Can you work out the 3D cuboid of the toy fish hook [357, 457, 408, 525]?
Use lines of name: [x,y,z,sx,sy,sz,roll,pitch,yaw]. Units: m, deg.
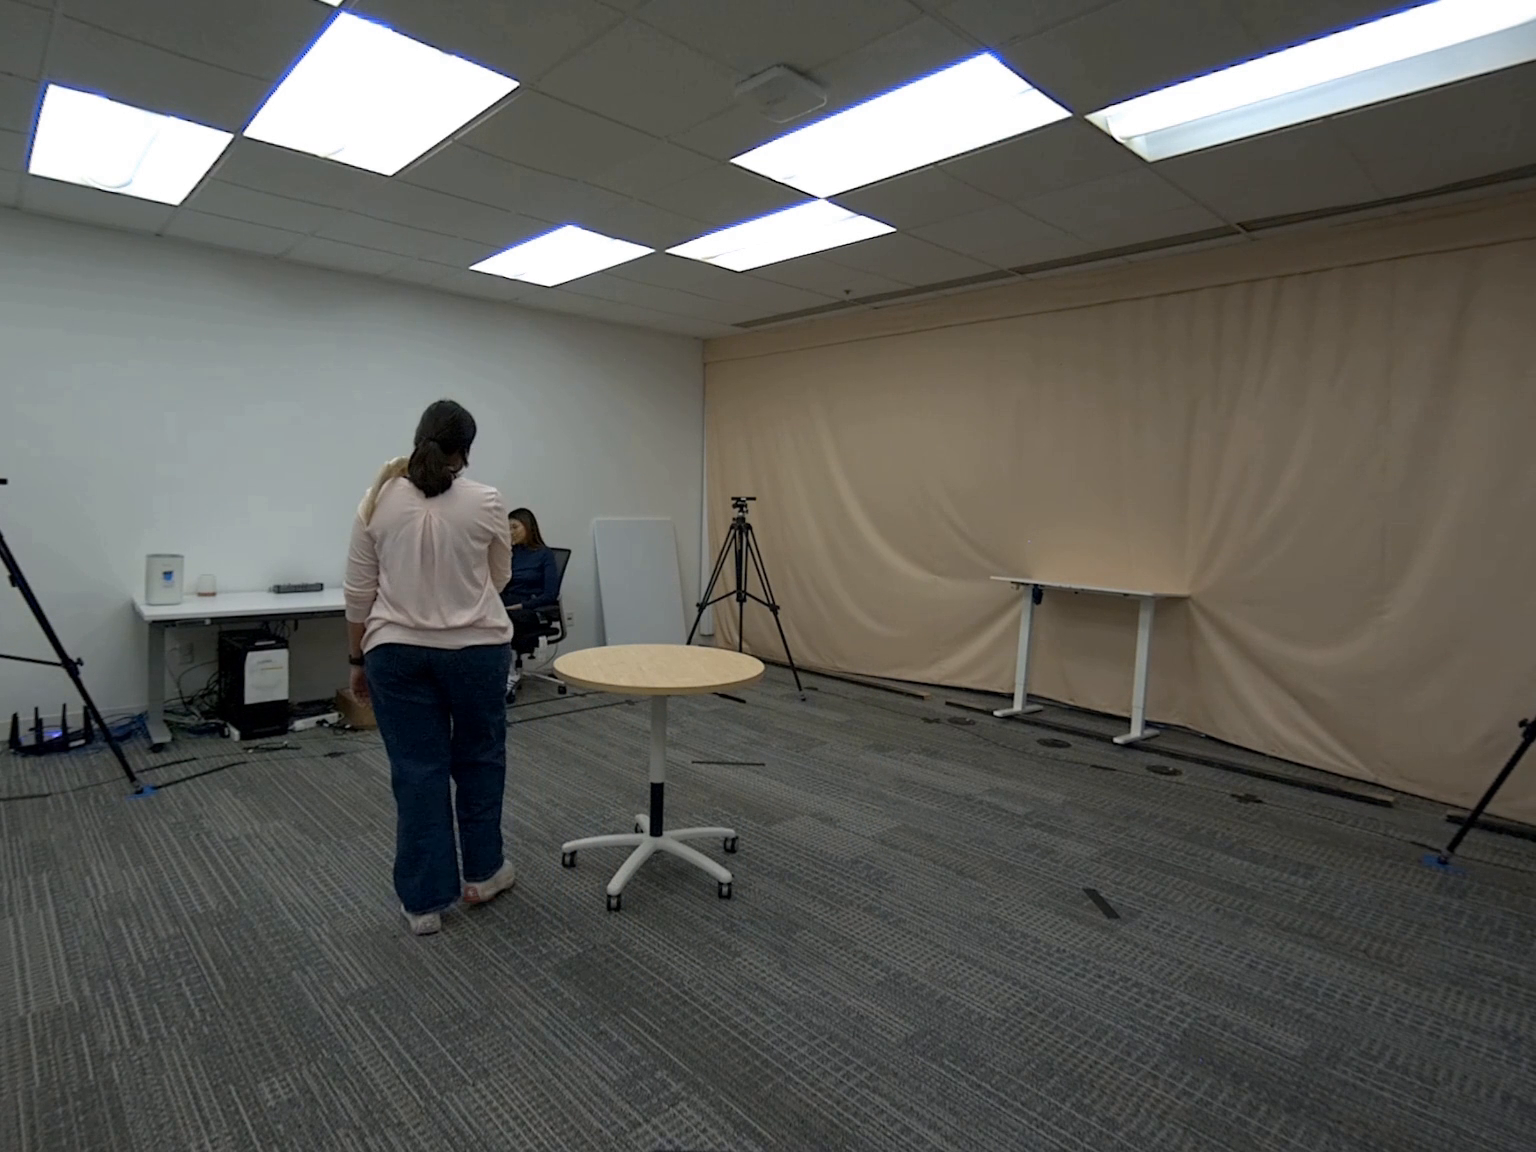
toy fish hook: [-1.226,-0.137,2.672,0.048,0.502,0.225,21,21,5]
